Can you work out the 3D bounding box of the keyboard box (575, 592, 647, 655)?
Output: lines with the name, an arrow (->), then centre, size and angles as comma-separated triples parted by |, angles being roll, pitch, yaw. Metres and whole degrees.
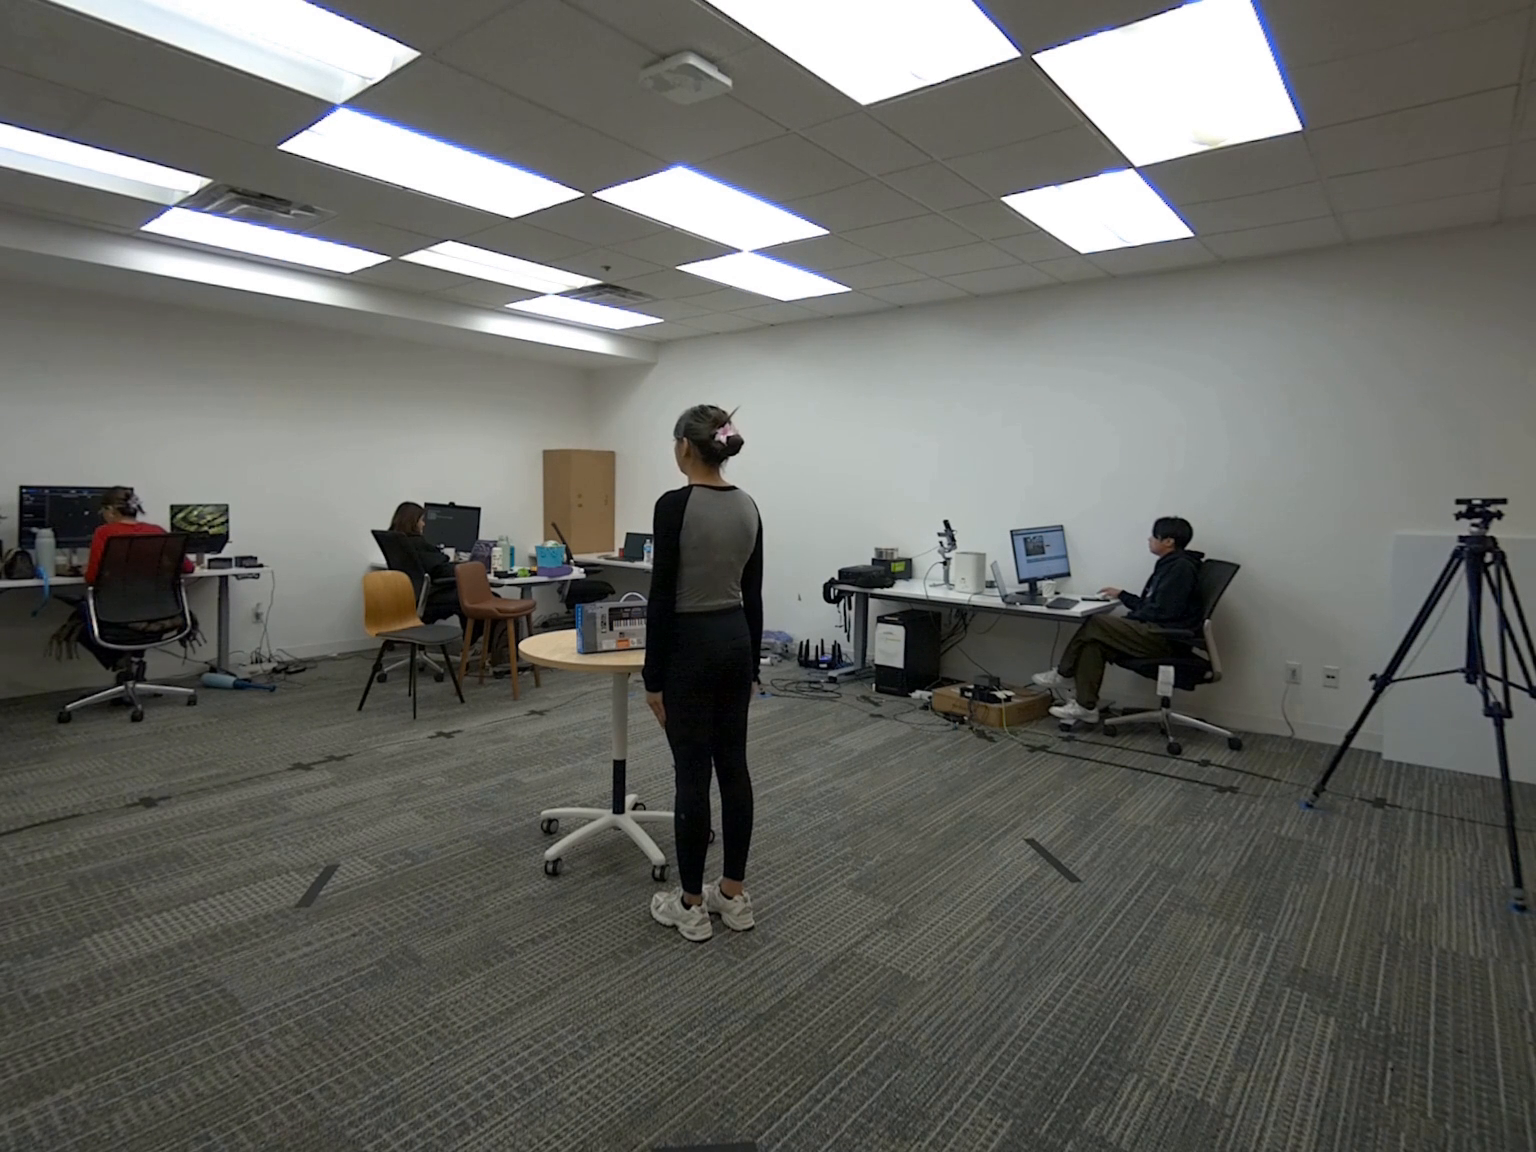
keyboard box -> -0.507, 0.181, 3.156 | 0.425, 0.176, 0.060 | -2, -3, -30
